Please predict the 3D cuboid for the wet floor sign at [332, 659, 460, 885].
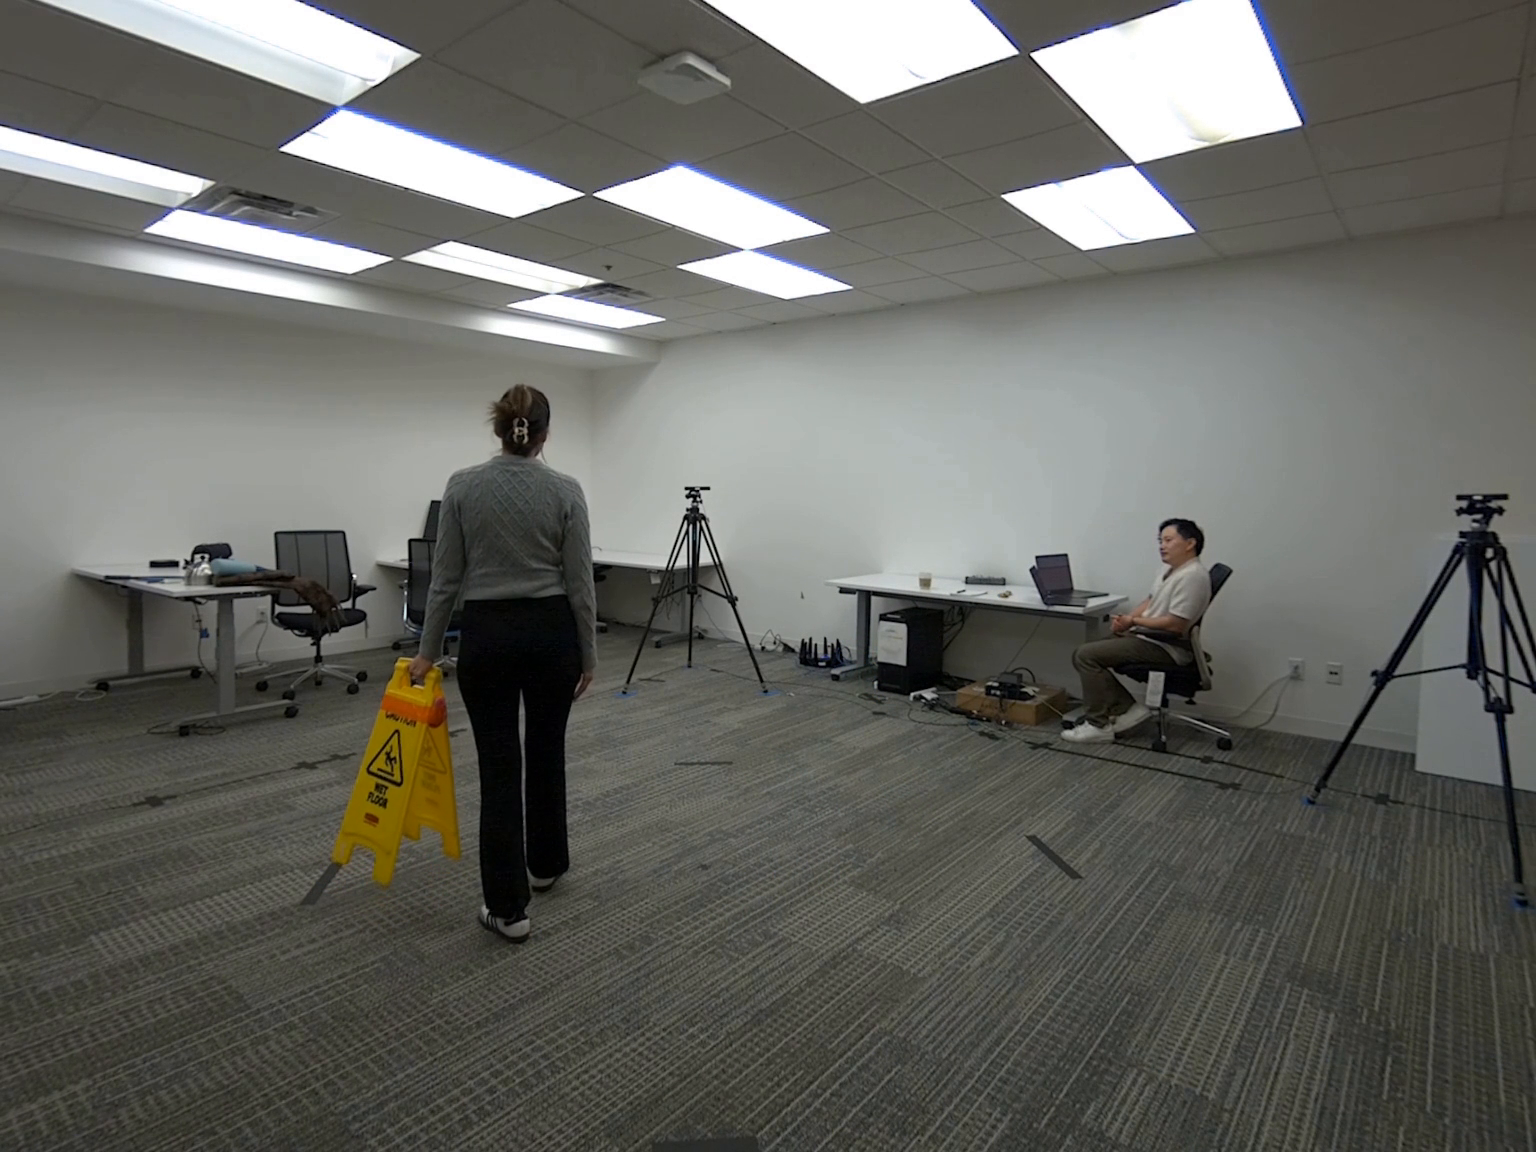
[{"bbox_3d":[-1.180,0.600,2.768,0.291,0.646,0.281,7,1,29],"label":"wet floor sign"}]
